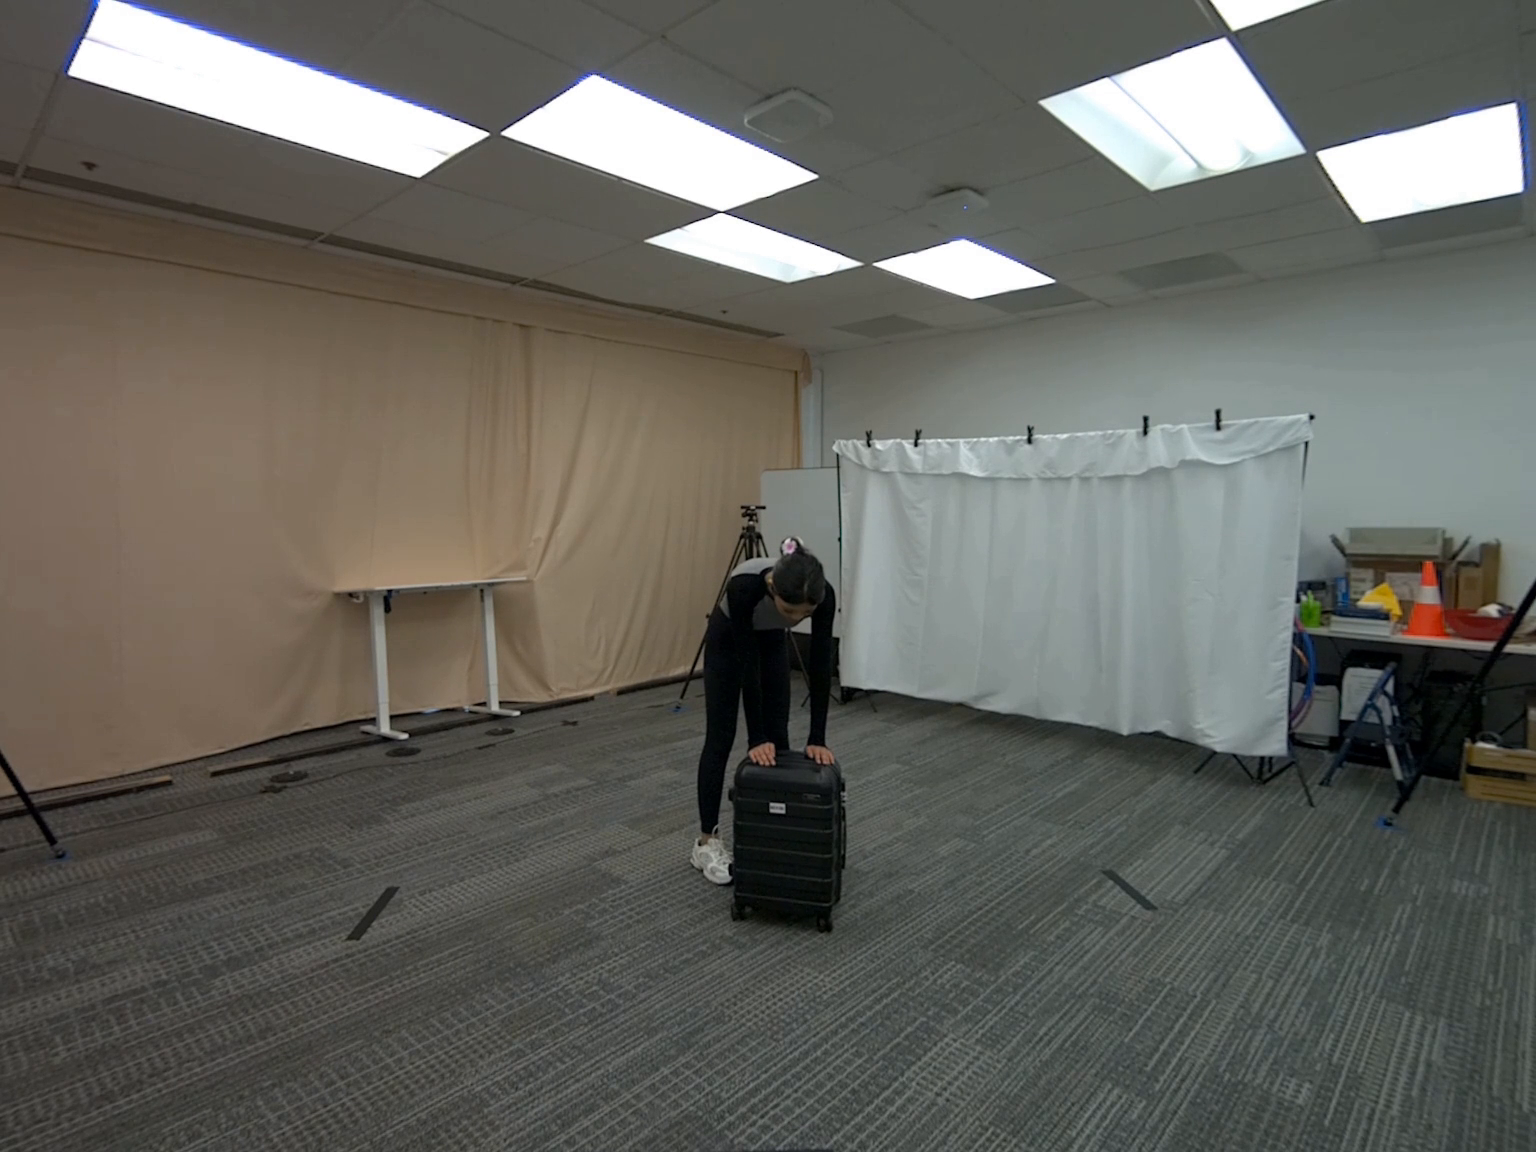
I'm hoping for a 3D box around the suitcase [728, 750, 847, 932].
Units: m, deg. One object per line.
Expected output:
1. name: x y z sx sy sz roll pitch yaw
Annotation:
1. suitcase: 0.075 0.879 2.865 0.382 0.547 0.245 1 5 15
